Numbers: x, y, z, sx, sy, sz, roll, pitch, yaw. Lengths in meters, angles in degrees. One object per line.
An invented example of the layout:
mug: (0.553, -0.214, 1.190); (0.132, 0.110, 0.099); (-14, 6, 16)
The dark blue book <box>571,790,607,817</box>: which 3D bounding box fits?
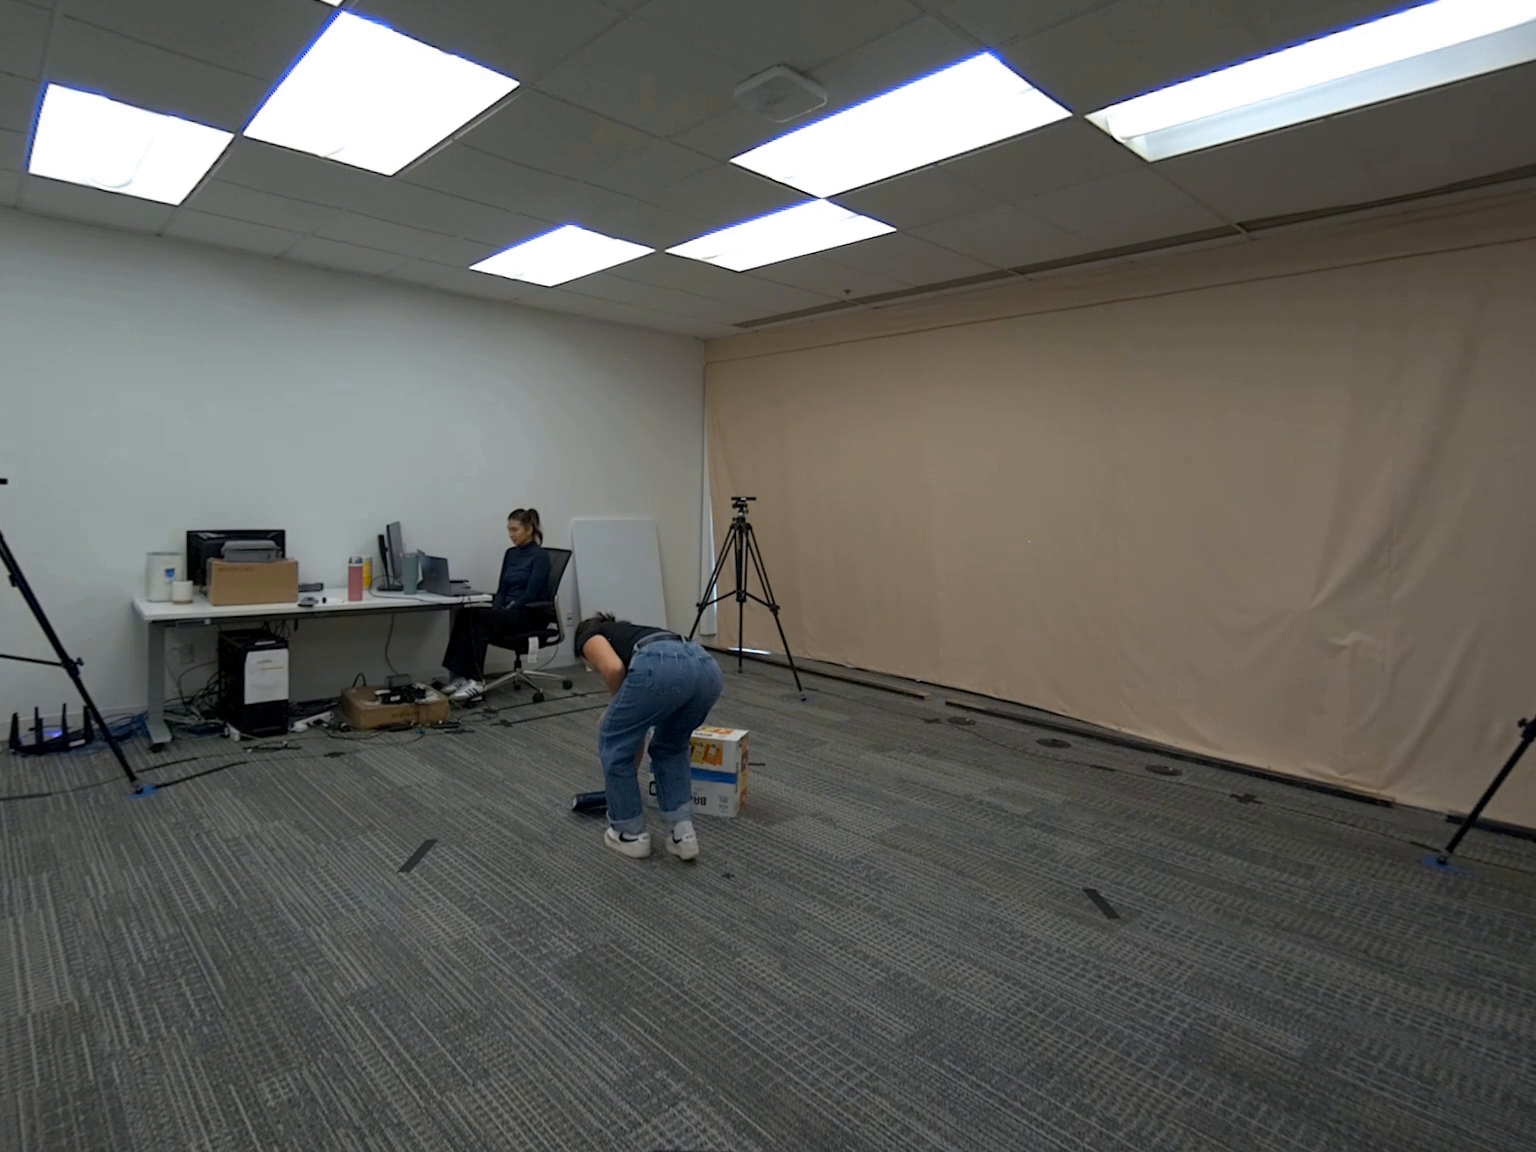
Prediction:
dark blue book: (-0.746, 0.982, 3.702); (0.241, 0.046, 0.163); (-2, -22, -21)
